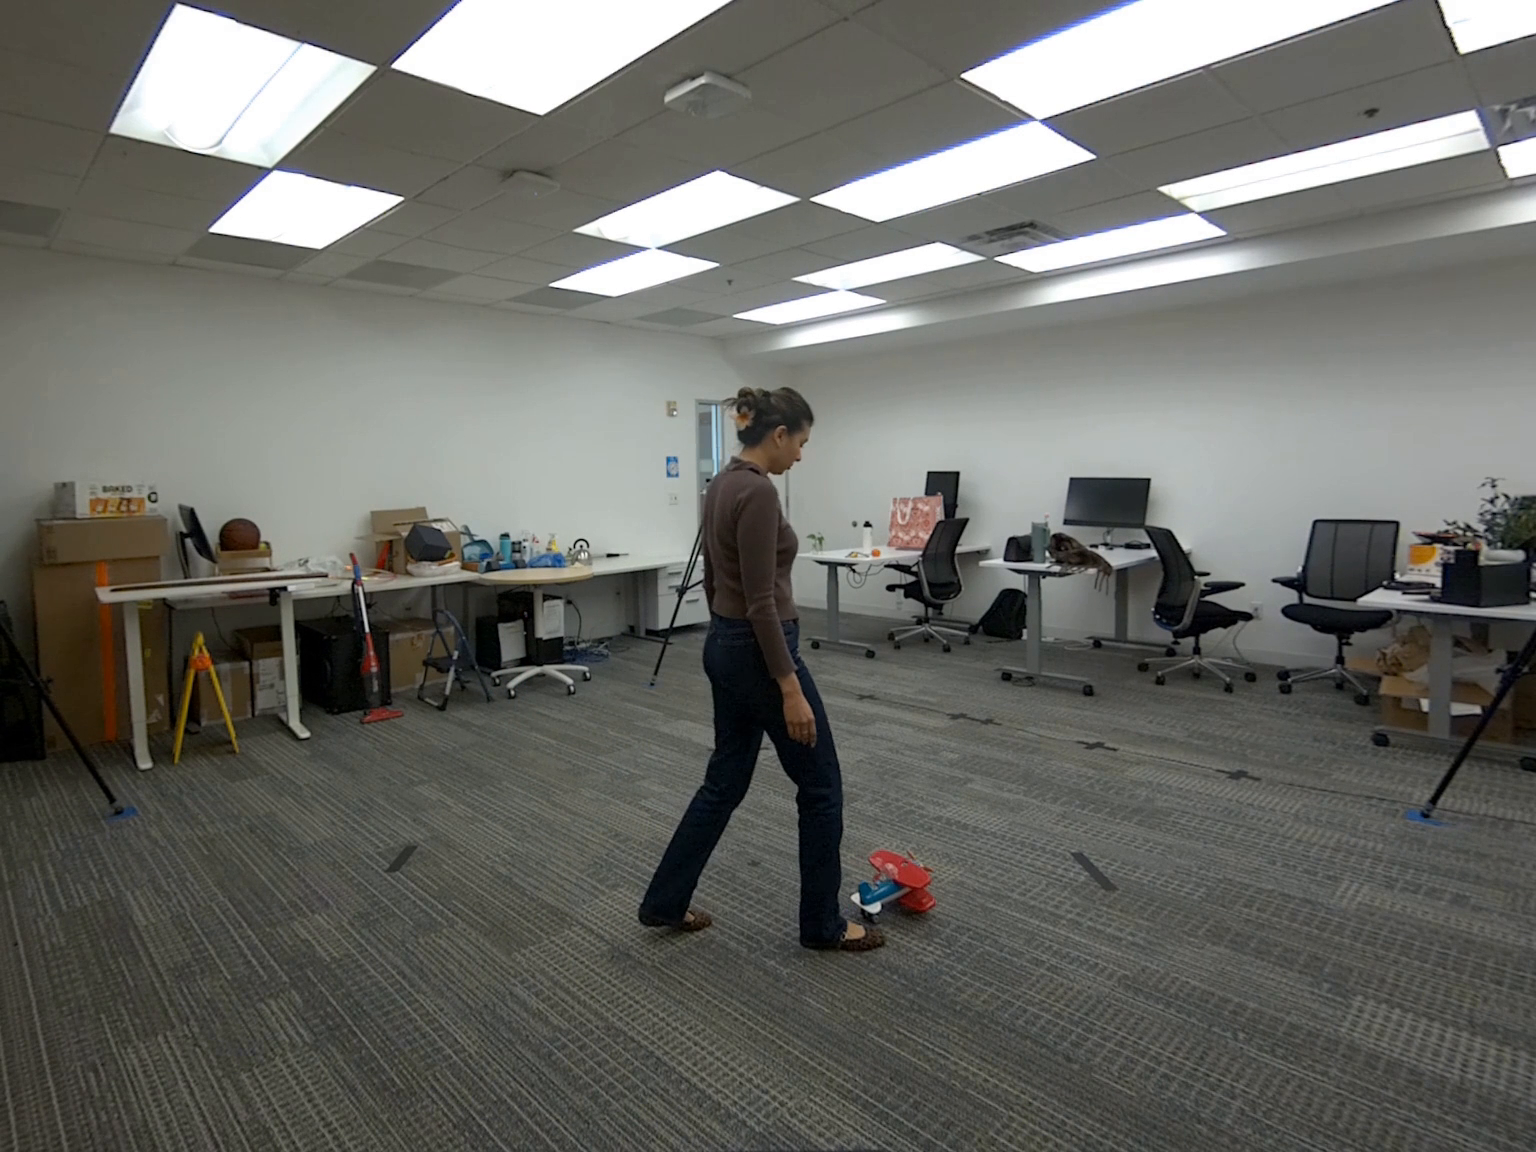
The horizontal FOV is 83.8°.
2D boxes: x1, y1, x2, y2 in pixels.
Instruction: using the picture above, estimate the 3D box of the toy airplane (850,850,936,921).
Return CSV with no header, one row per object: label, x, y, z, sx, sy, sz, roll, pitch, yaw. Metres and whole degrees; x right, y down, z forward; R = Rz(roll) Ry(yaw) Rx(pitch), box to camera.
toy airplane,0.411,1.005,2.718,0.258,0.156,0.253,3,6,32
